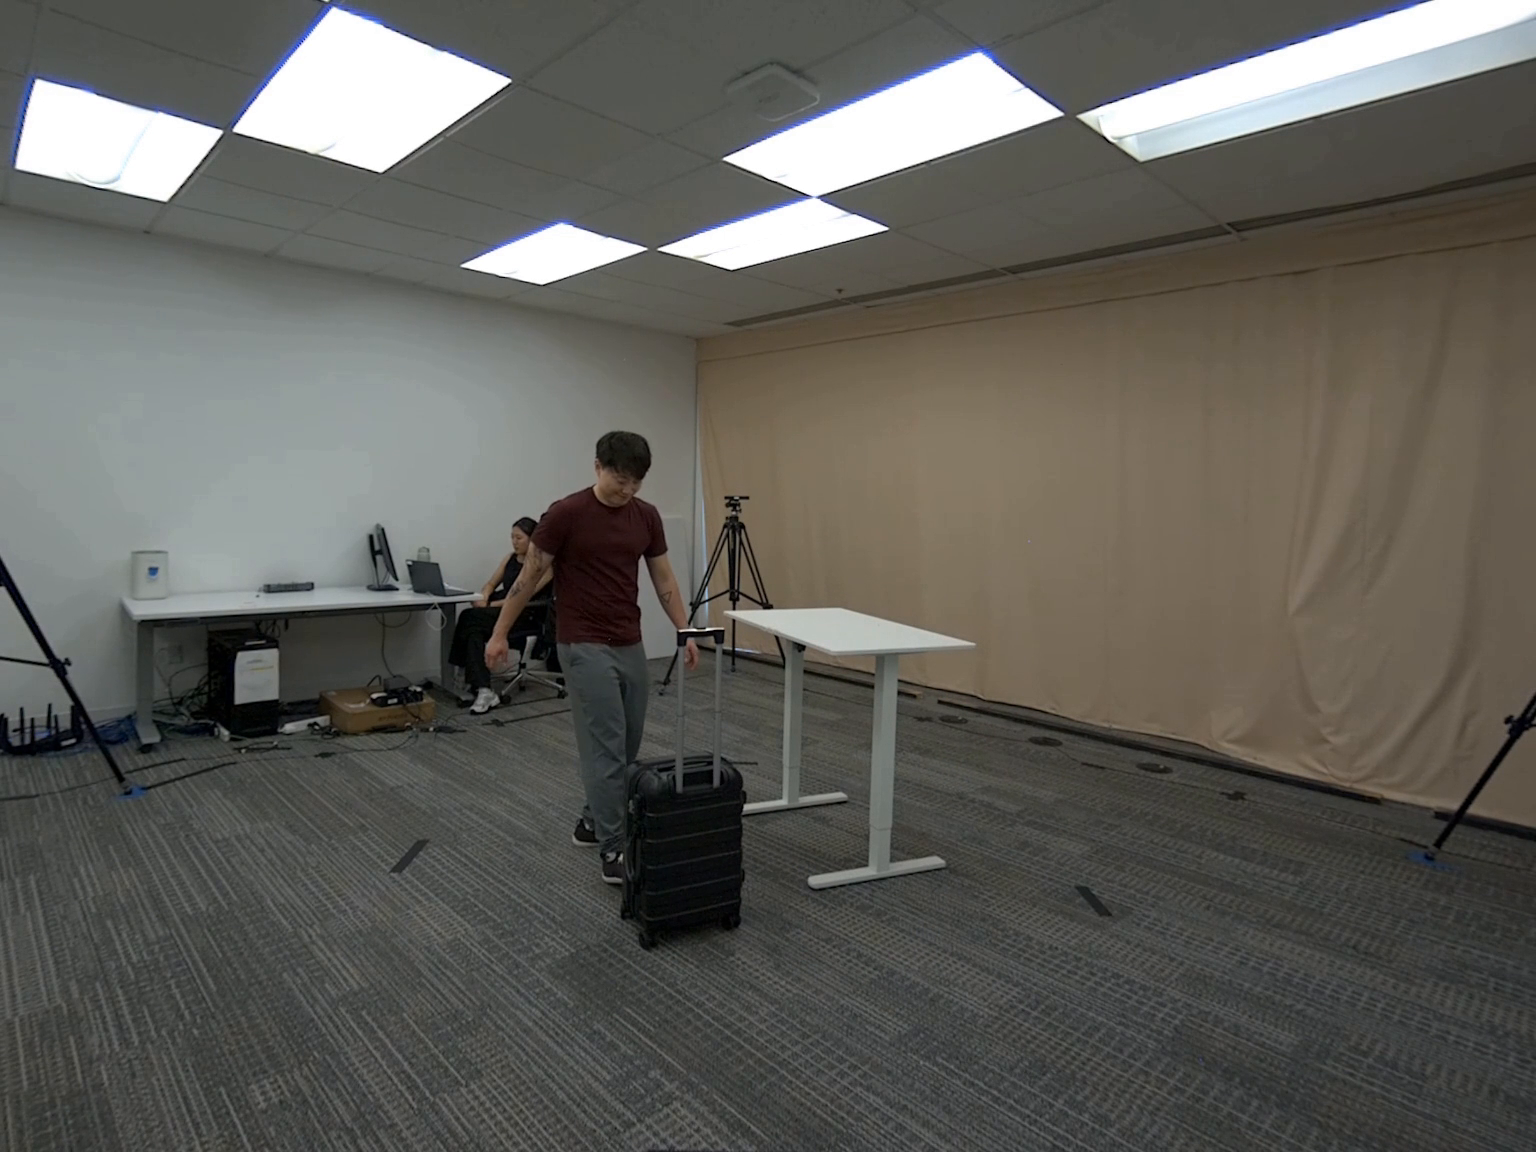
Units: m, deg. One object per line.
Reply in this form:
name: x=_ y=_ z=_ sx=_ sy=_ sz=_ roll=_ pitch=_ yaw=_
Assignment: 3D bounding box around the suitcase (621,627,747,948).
suitcase: x=-0.279 y=0.657 z=2.709 sx=0.377 sy=0.977 sz=0.262 roll=0 pitch=2 yaw=-24
